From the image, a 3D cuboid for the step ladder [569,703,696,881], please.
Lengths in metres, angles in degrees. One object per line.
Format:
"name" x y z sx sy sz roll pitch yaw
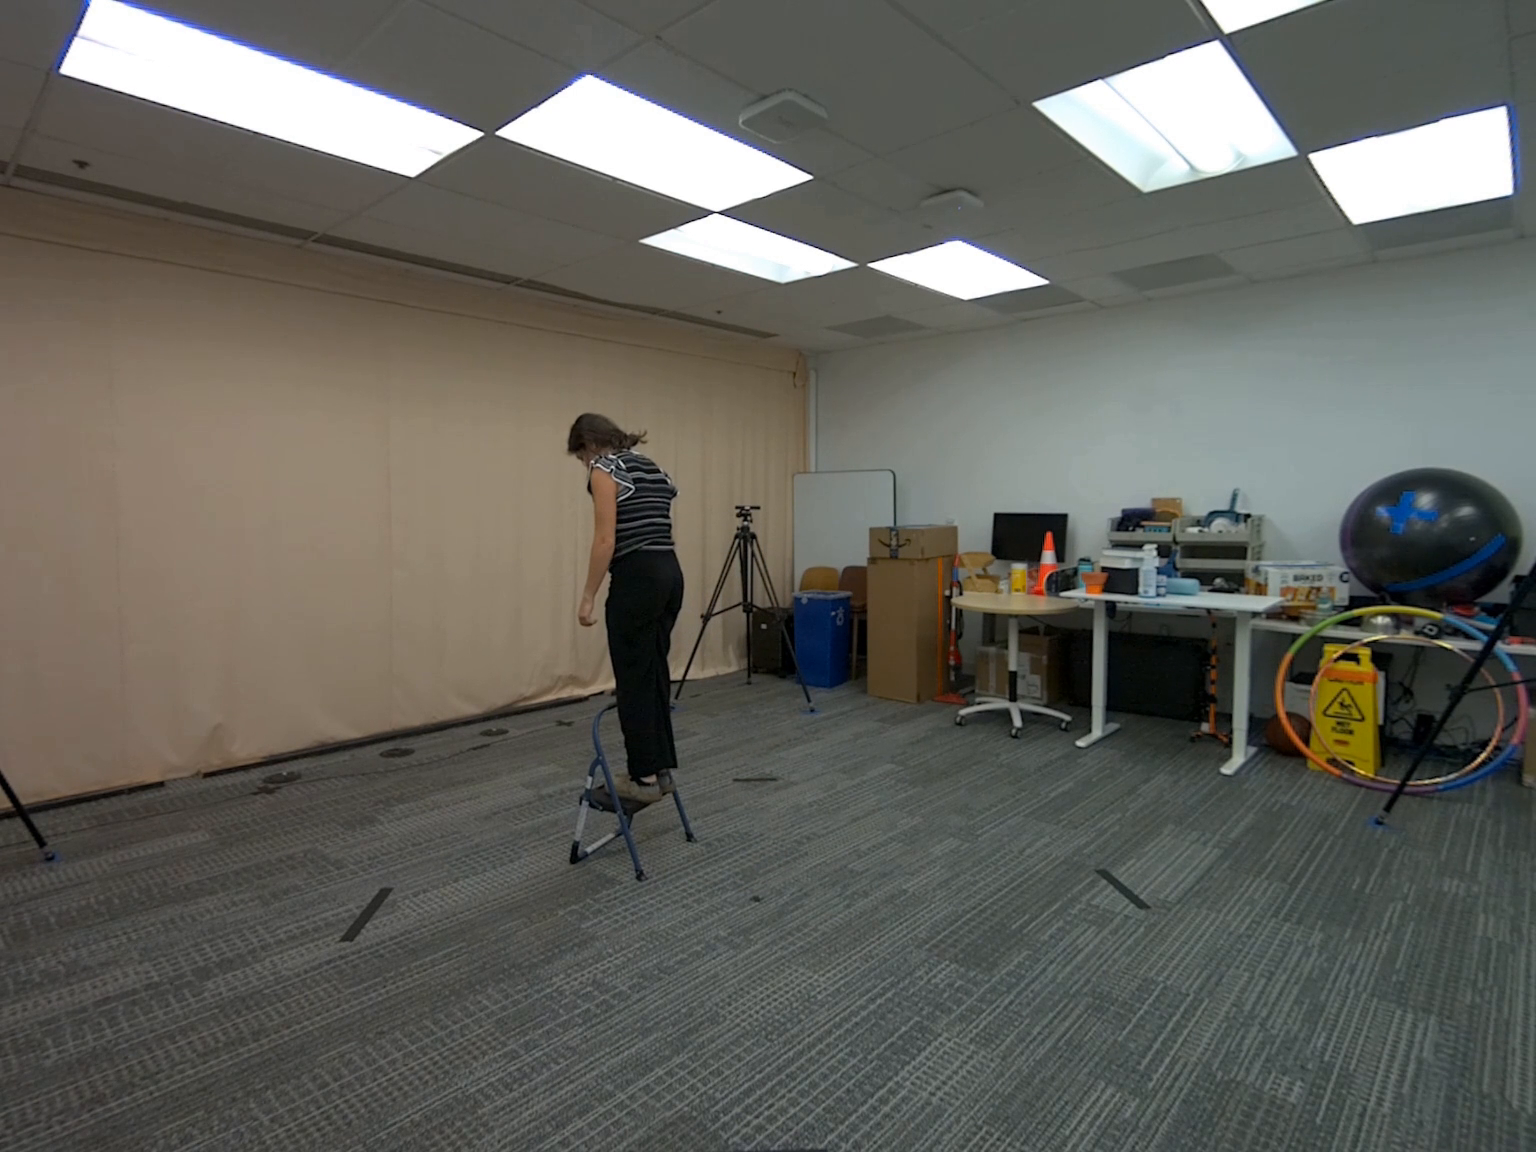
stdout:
"step ladder" -0.544 0.815 3.387 0.358 0.605 0.421 1 3 24
